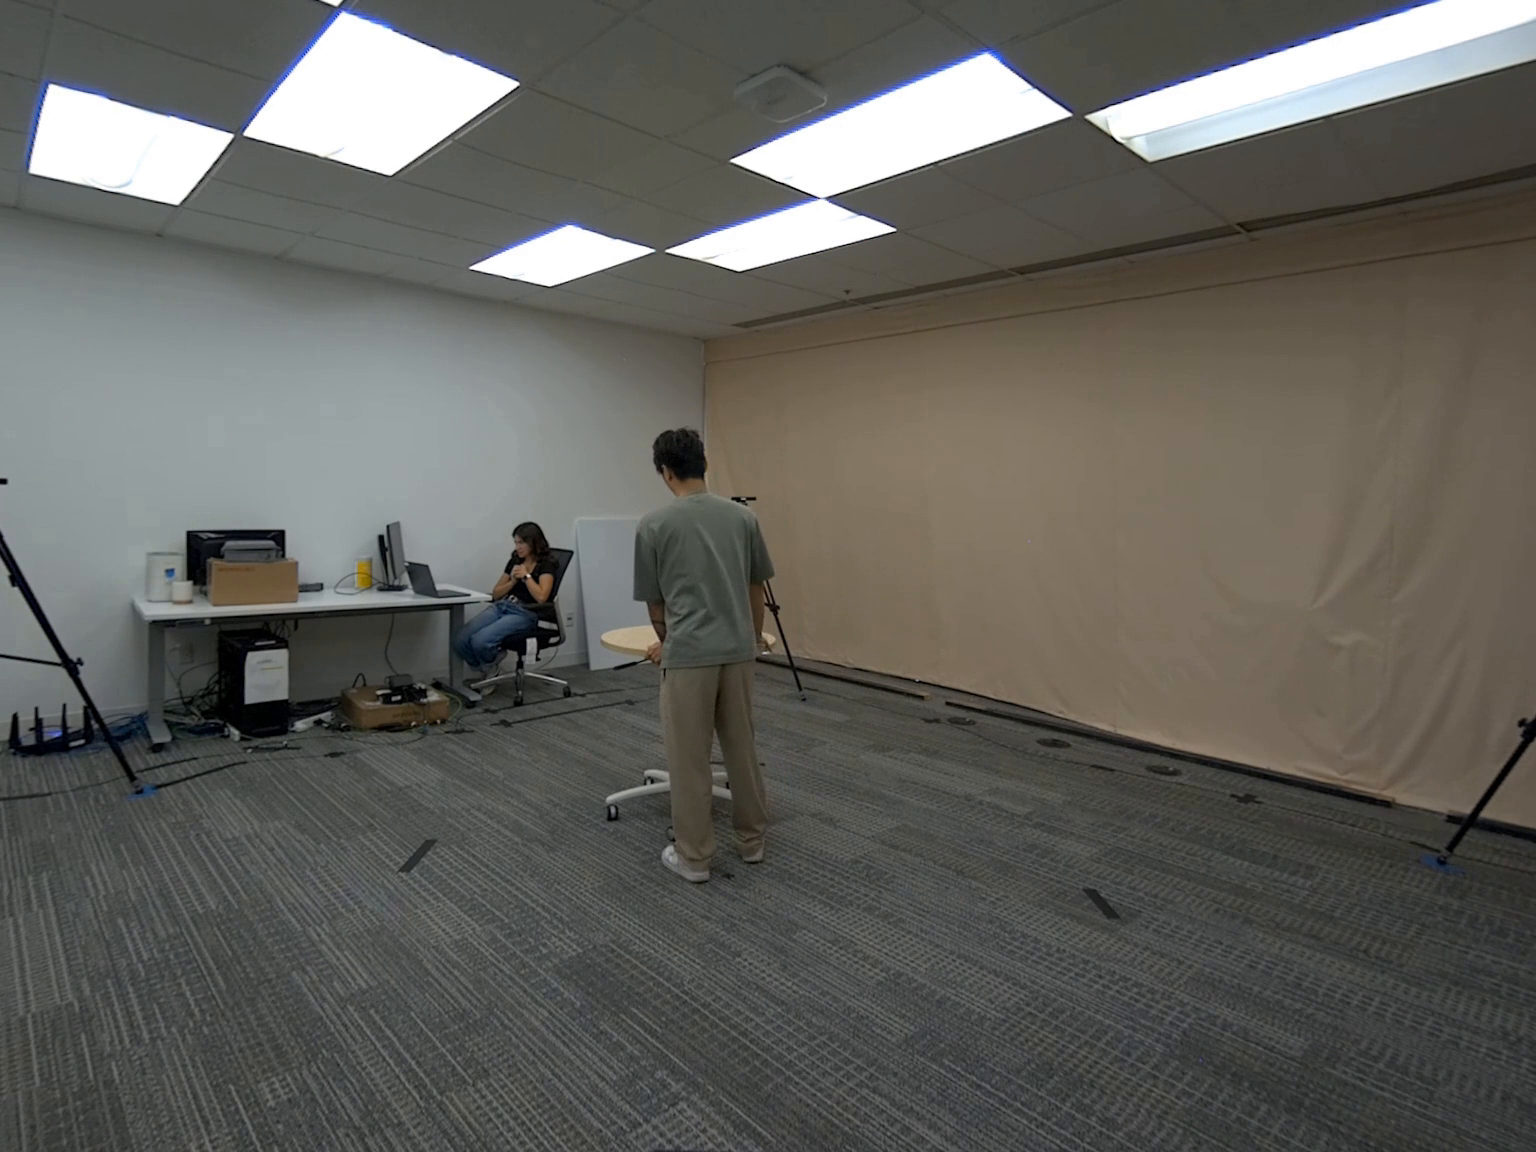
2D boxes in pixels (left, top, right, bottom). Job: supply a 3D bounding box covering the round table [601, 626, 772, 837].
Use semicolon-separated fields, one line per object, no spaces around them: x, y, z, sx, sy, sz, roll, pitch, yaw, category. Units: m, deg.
-0.353;0.658;3.730;0.784;0.784;0.788;1;4;-1;round table
